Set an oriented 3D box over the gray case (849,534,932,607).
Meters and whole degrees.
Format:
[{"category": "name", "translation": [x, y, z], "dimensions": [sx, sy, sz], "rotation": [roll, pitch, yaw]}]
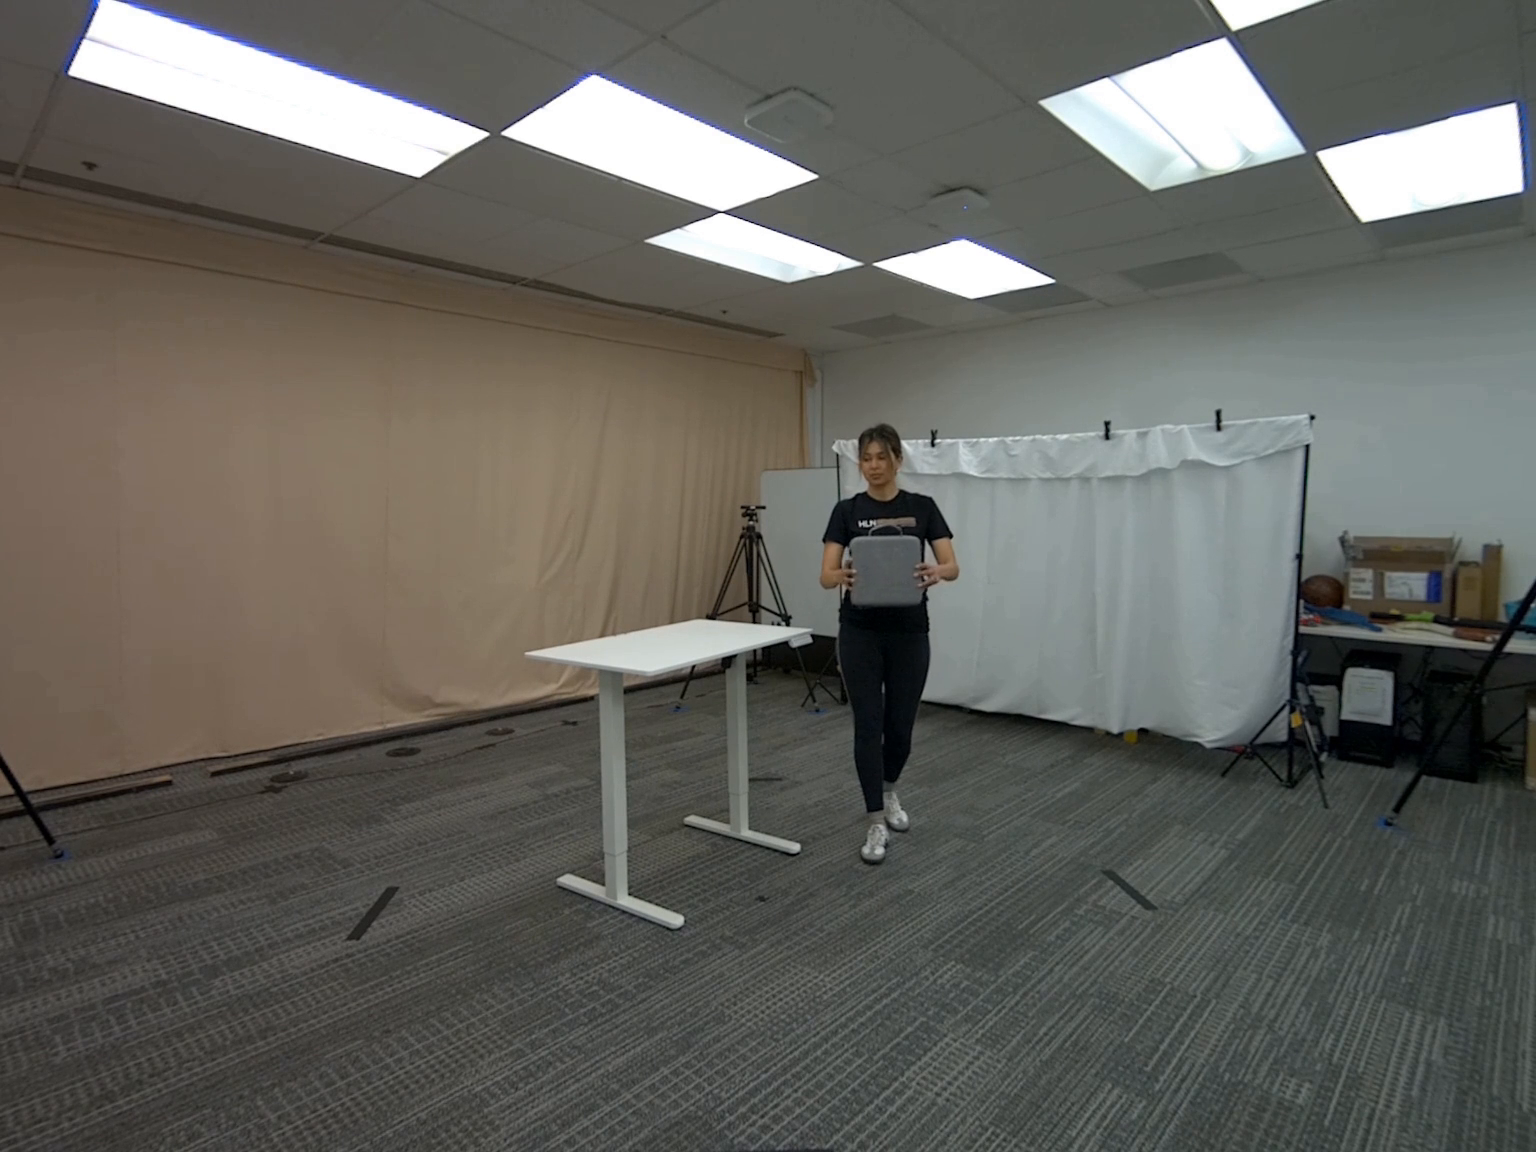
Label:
[{"category": "gray case", "translation": [0.438, -0.016, 3.077], "dimensions": [0.258, 0.261, 0.103], "rotation": [-6, -2, 5]}]
